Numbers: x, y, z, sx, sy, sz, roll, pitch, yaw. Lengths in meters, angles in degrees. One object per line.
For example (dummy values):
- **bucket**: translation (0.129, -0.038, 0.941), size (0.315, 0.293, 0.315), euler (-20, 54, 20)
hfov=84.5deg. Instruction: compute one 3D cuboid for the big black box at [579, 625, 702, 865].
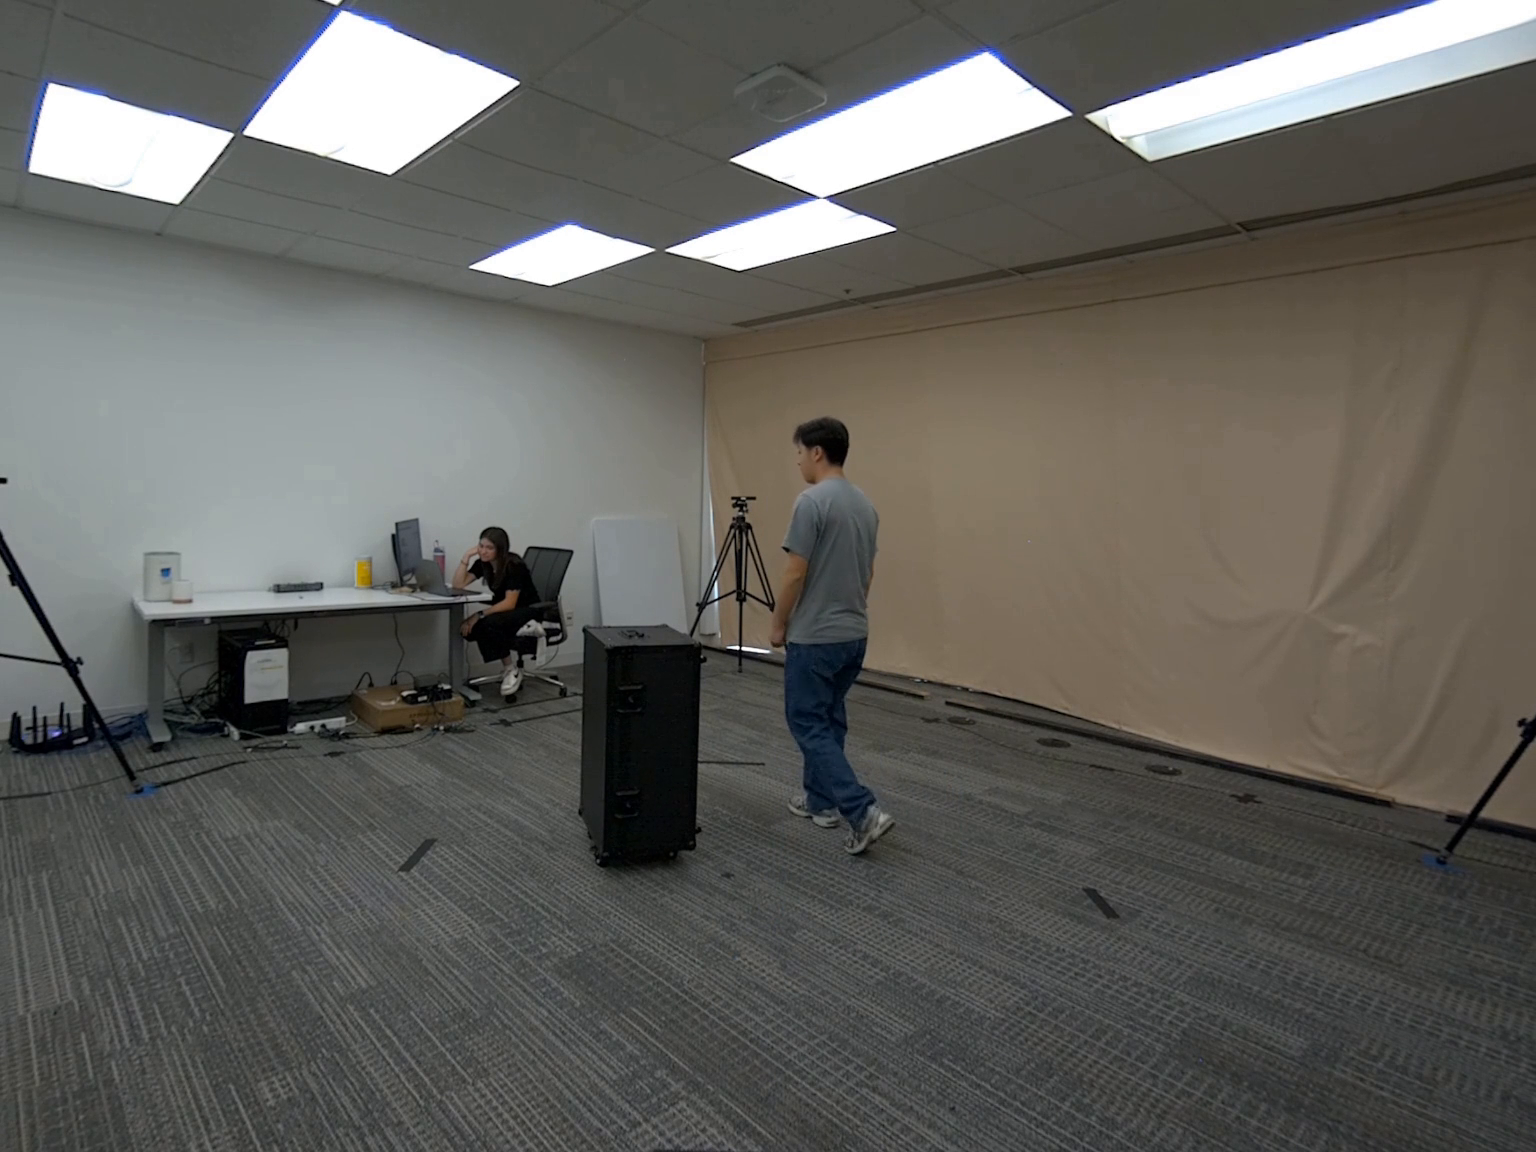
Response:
- **big black box**: translation (-0.514, 0.653, 3.310), size (0.390, 0.860, 0.531), euler (2, 3, -22)
